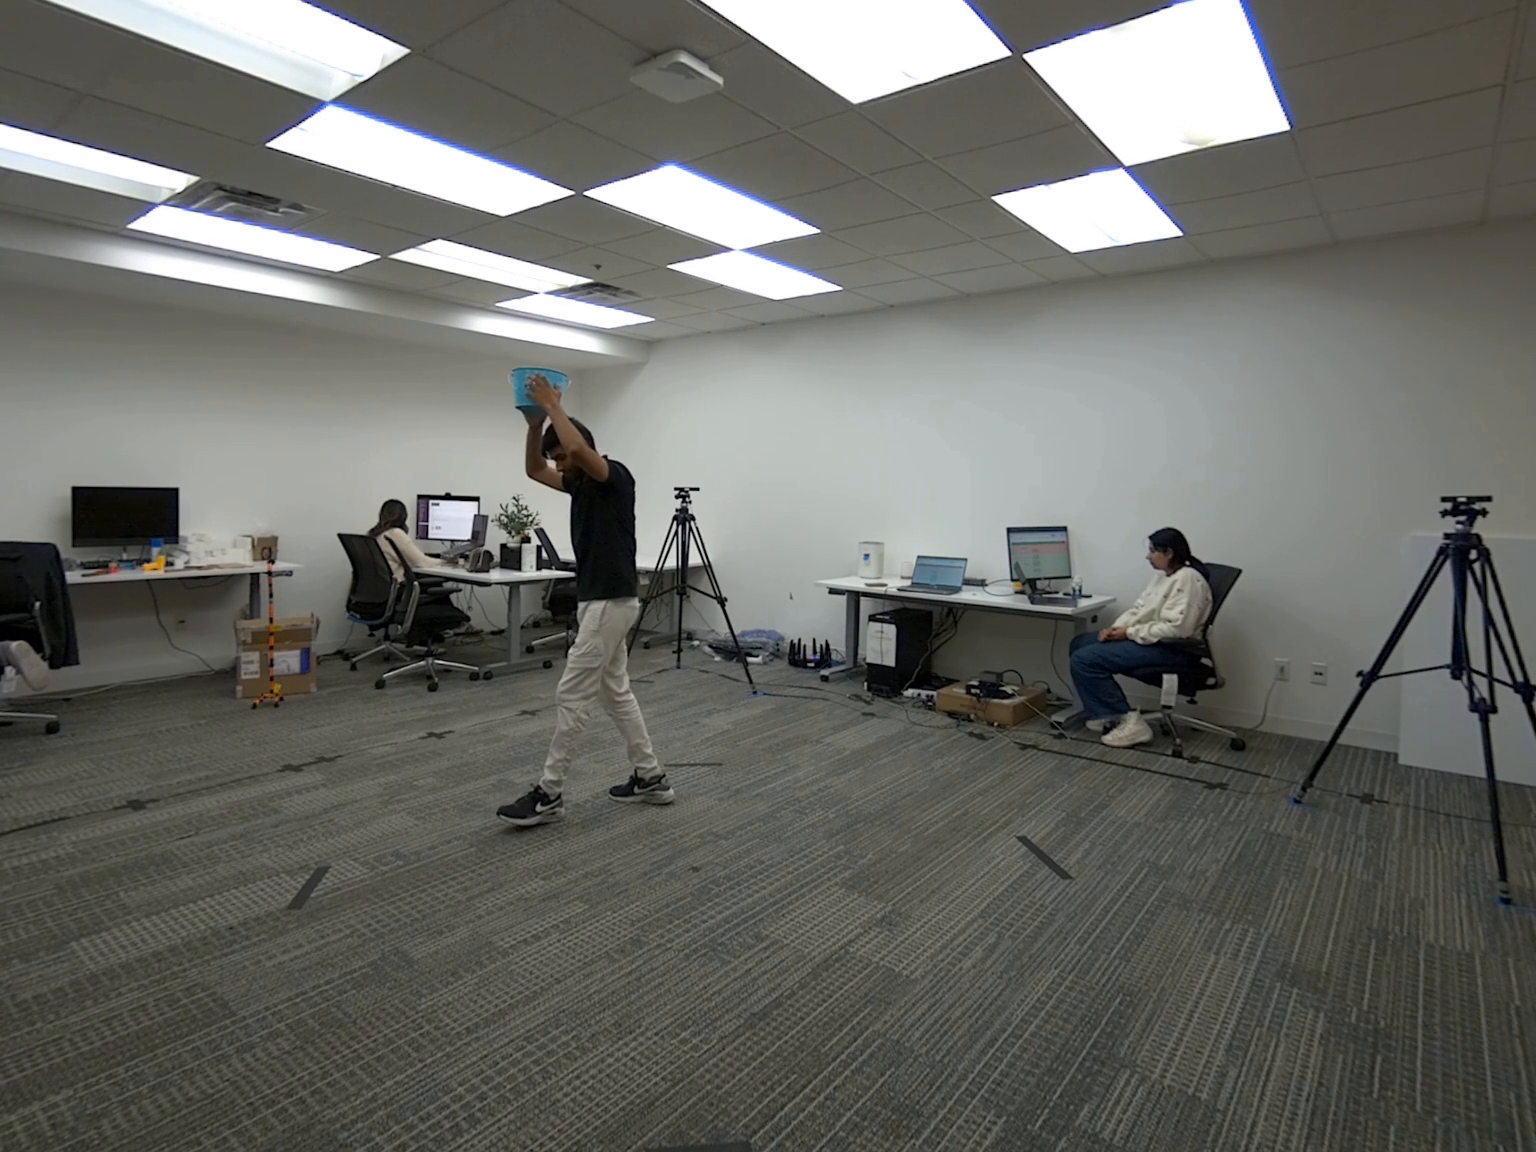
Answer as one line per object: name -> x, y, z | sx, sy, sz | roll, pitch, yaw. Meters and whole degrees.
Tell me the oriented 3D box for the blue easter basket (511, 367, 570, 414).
blue easter basket -> -0.976, -0.777, 3.540 | 0.243, 0.156, 0.244 | 2, 1, -2
